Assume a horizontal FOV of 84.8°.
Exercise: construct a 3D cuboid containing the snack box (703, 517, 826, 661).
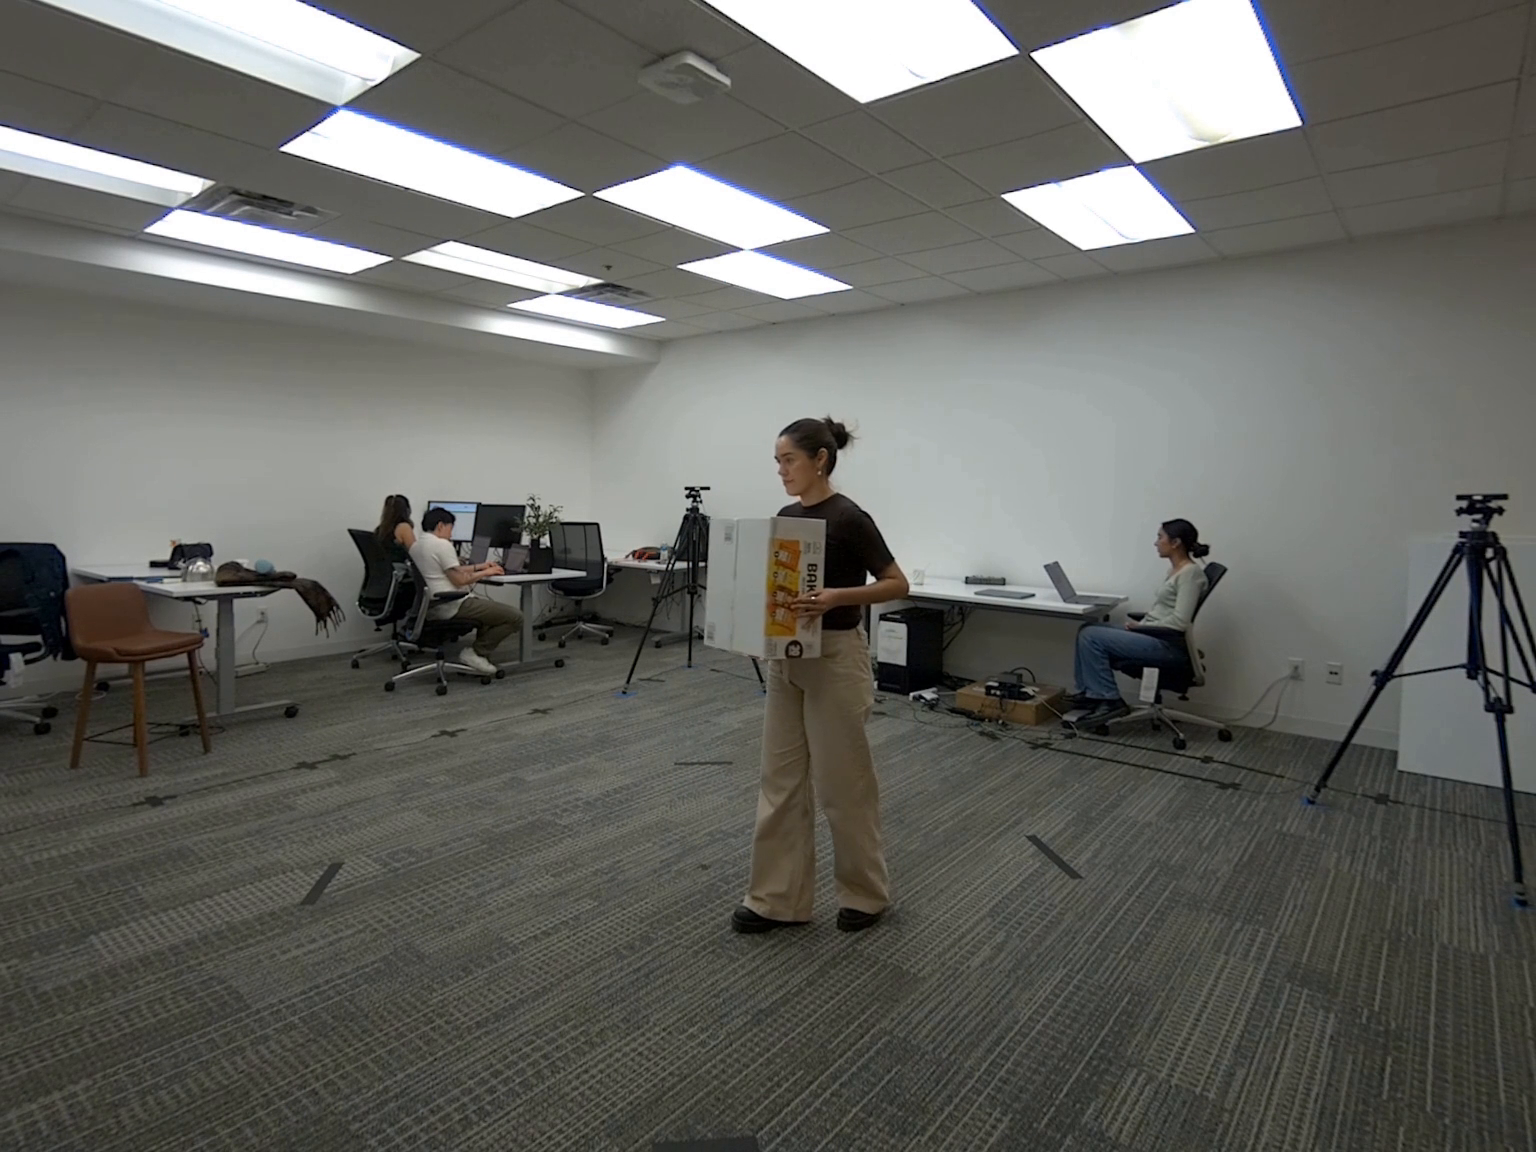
[{"bbox_3d":[-0.024,0.023,2.596,0.199,0.405,0.350,2,0,-34],"label":"snack box"}]
